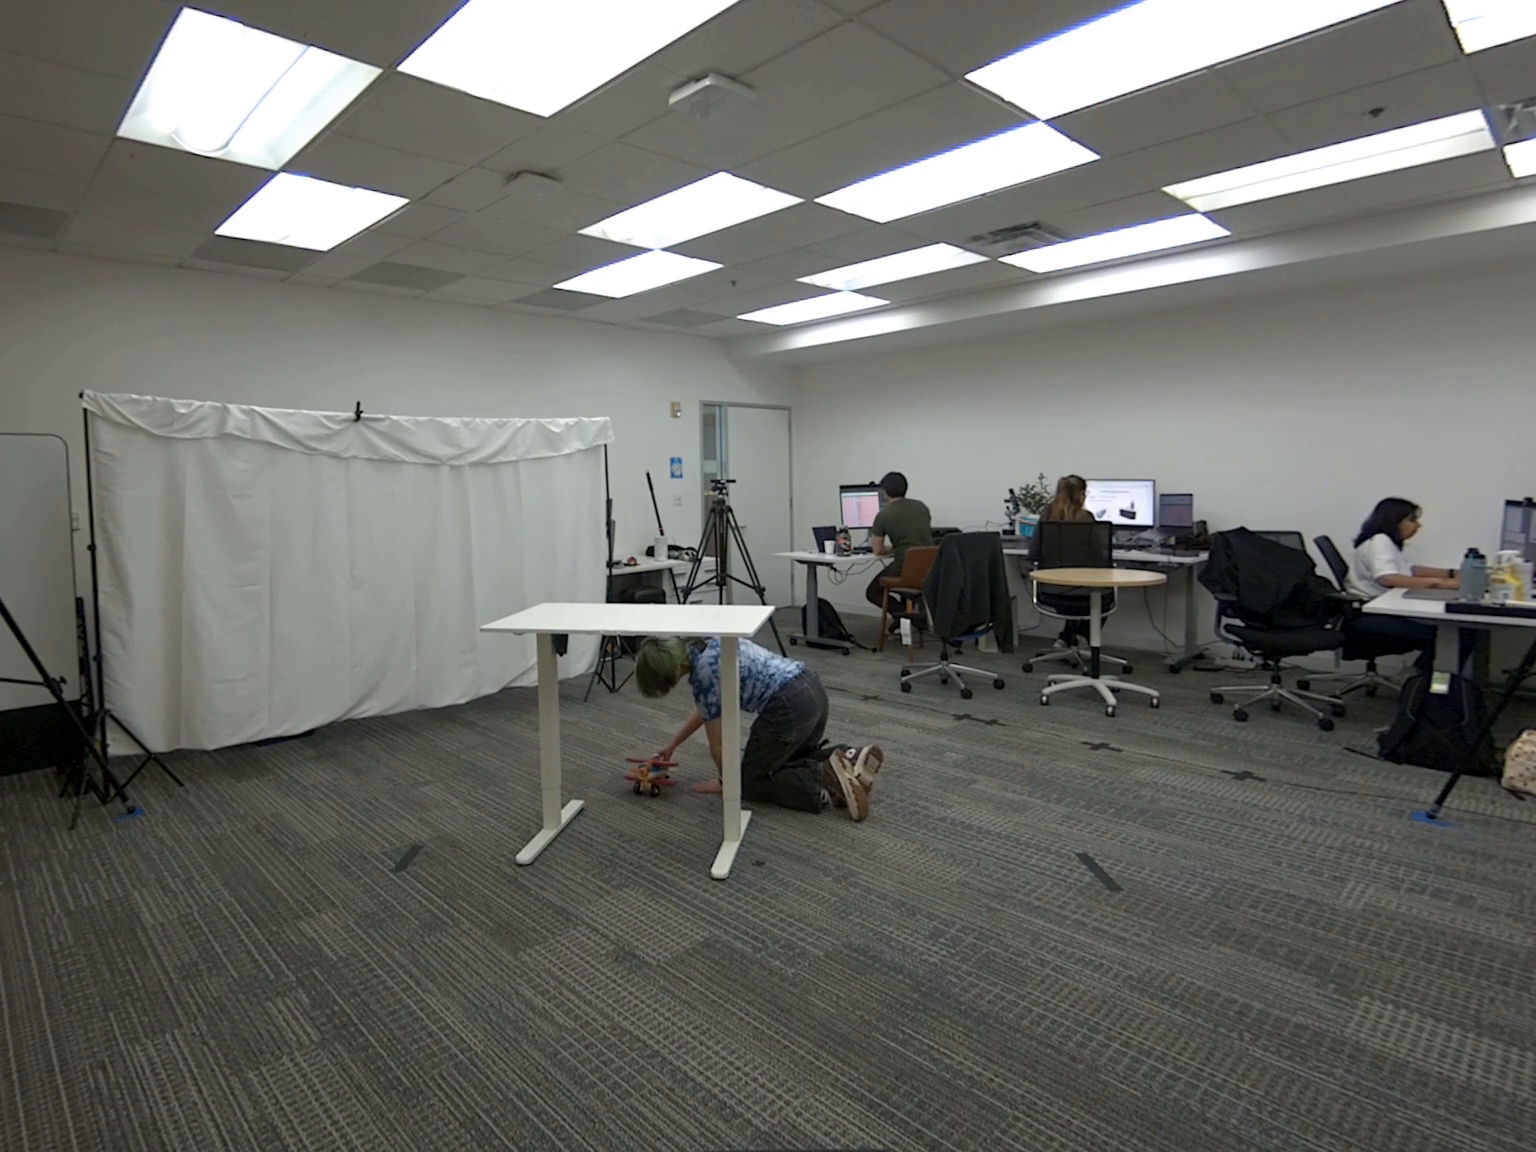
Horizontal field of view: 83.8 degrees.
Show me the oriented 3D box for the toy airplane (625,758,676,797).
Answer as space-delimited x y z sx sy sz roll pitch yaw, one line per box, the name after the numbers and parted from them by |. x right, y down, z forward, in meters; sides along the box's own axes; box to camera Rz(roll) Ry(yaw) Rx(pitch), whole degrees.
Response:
-0.534 0.897 3.906 0.250 0.155 0.262 -2 7 -7 | toy airplane
